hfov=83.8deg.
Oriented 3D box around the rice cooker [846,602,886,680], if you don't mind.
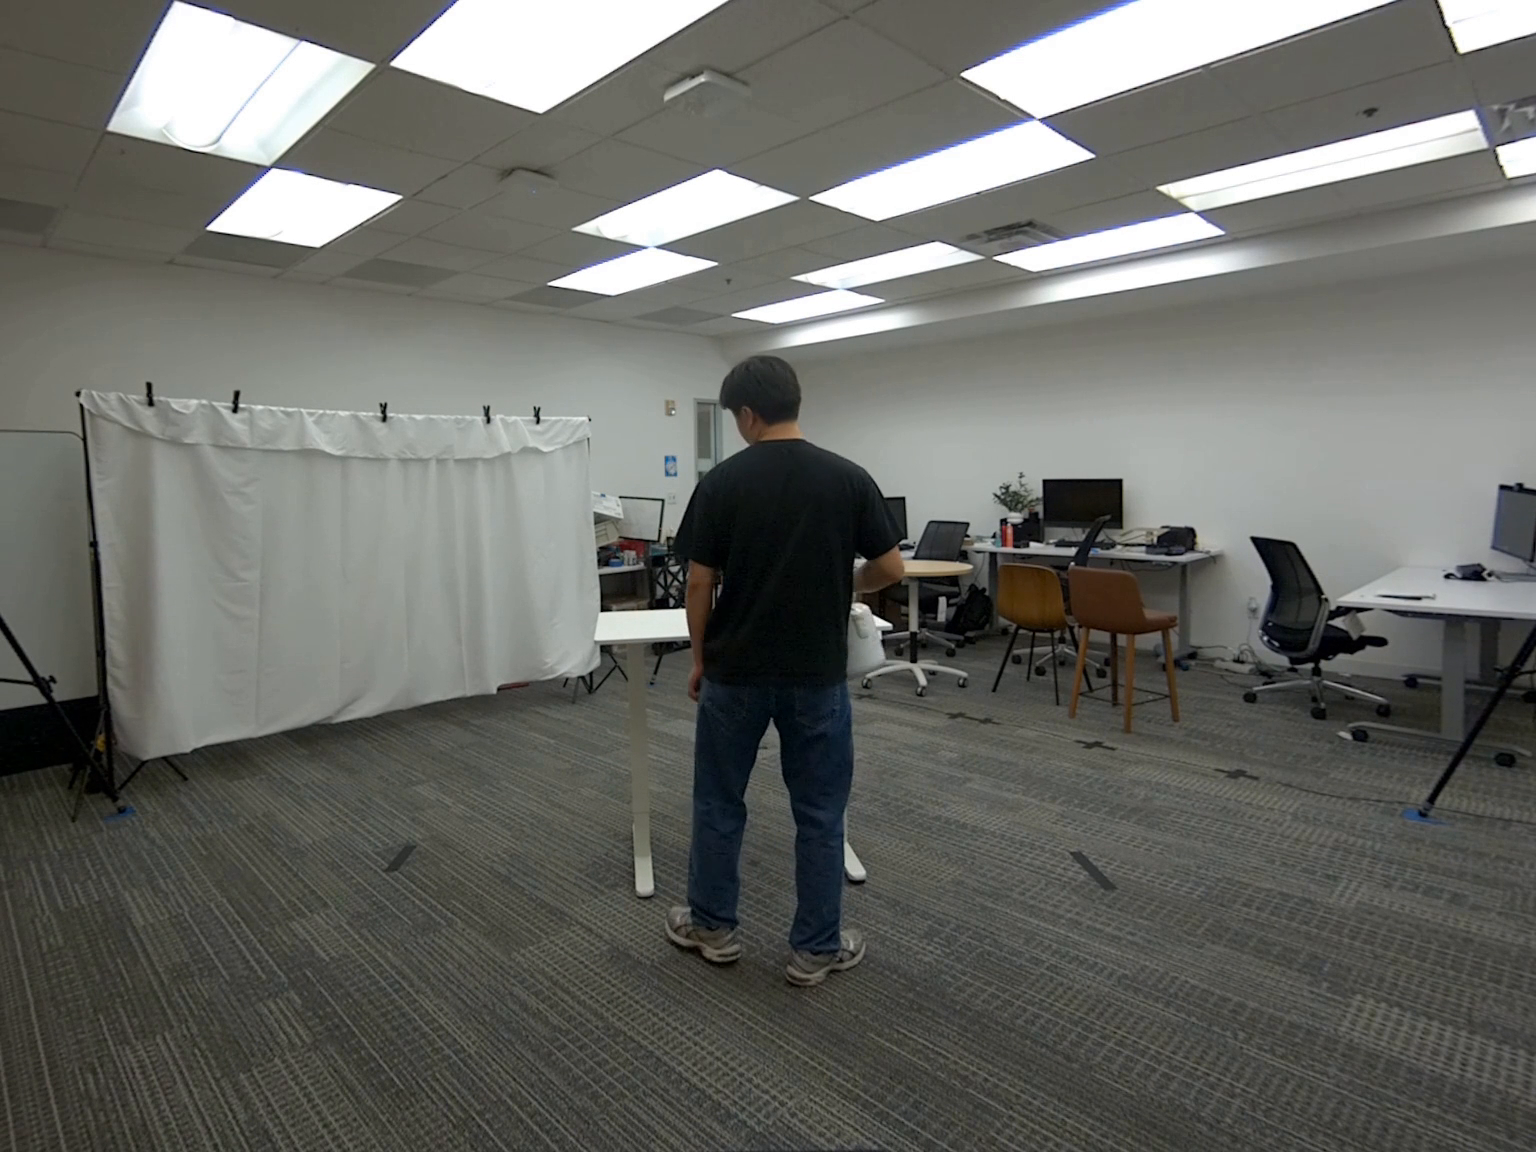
[{"bbox_3d":[0.228,0.183,2.599,0.213,0.233,0.224,-17,-2,-32],"label":"rice cooker"}]
